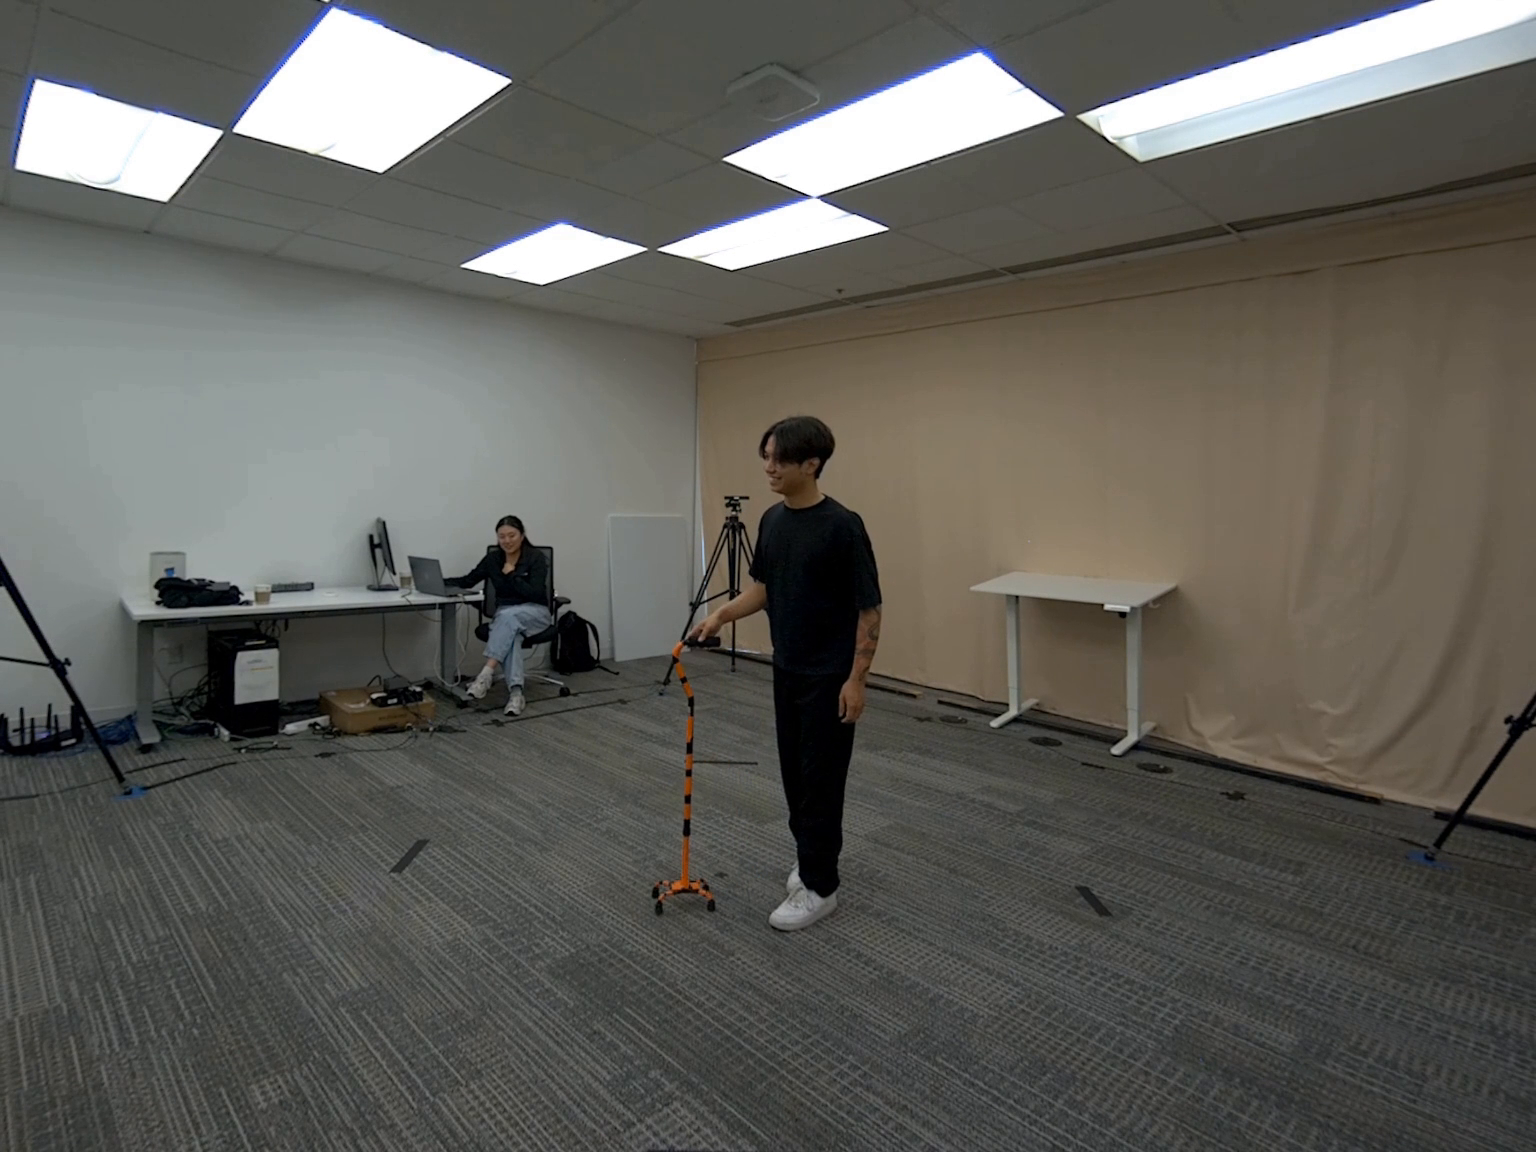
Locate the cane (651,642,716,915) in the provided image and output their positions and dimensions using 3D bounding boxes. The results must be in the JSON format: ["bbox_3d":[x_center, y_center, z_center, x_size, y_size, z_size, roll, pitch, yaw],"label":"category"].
[{"bbox_3d":[-0.272,0.661,2.876,0.204,0.907,0.153,1,1,-16],"label":"cane"}]
